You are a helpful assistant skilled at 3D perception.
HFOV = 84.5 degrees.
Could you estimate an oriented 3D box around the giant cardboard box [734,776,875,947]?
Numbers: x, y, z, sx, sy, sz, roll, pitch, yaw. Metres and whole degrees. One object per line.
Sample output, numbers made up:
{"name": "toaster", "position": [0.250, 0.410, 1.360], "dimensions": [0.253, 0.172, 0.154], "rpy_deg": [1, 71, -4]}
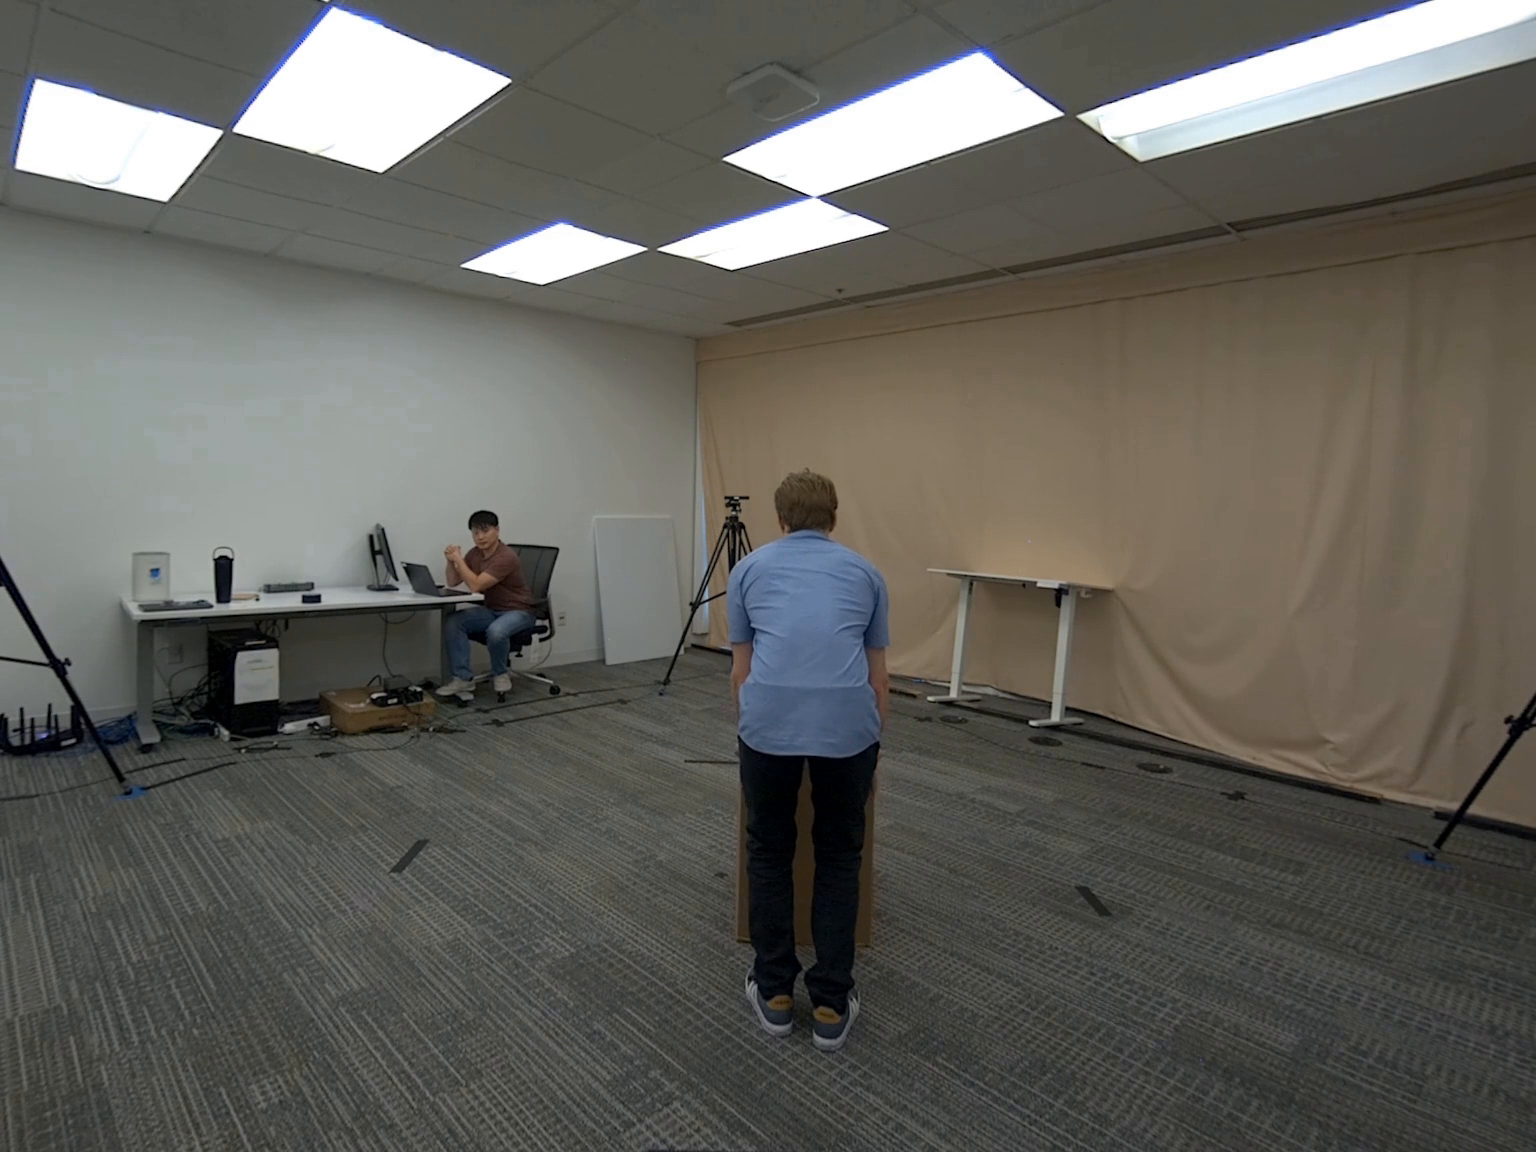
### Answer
{"name": "giant cardboard box", "position": [0.119, 0.625, 2.889], "dimensions": [0.426, 1.023, 0.578], "rpy_deg": [1, 3, 0]}
